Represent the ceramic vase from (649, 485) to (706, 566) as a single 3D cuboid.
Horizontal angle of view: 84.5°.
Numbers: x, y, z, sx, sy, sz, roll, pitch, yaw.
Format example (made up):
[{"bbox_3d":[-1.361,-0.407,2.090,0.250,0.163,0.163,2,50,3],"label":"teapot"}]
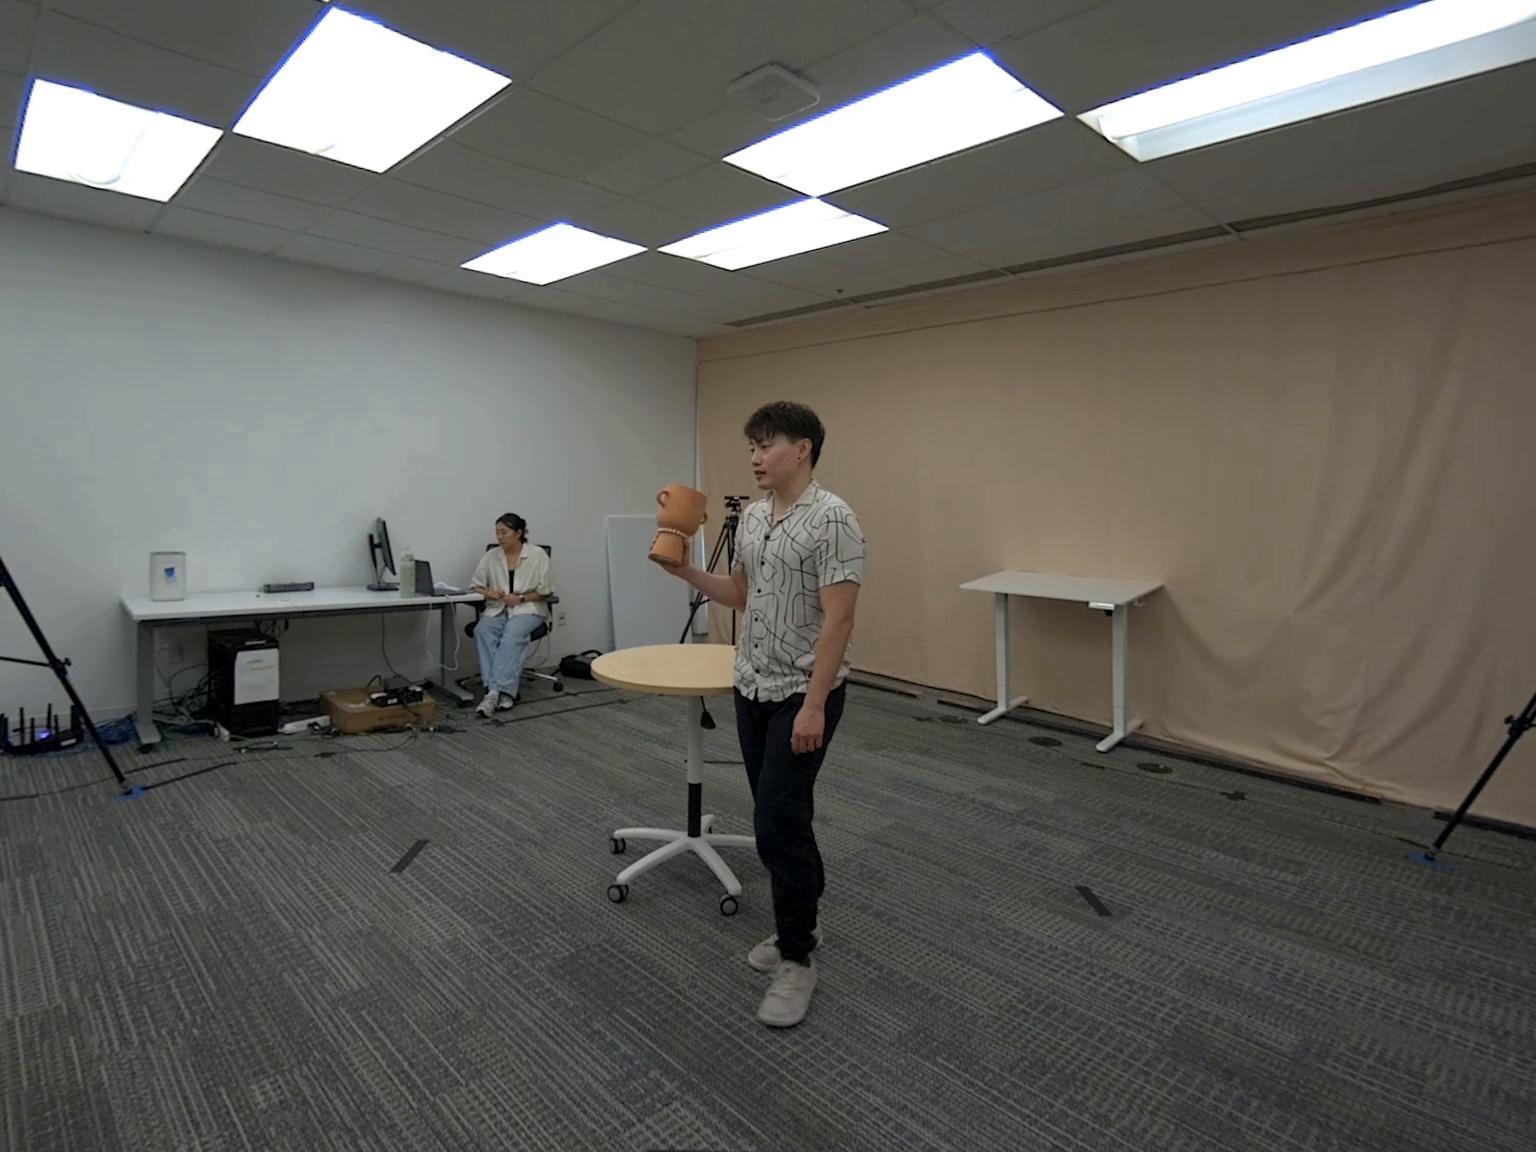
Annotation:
[{"bbox_3d":[-0.275,-0.149,2.543,0.159,0.221,0.133,17,-14,2],"label":"ceramic vase"}]
